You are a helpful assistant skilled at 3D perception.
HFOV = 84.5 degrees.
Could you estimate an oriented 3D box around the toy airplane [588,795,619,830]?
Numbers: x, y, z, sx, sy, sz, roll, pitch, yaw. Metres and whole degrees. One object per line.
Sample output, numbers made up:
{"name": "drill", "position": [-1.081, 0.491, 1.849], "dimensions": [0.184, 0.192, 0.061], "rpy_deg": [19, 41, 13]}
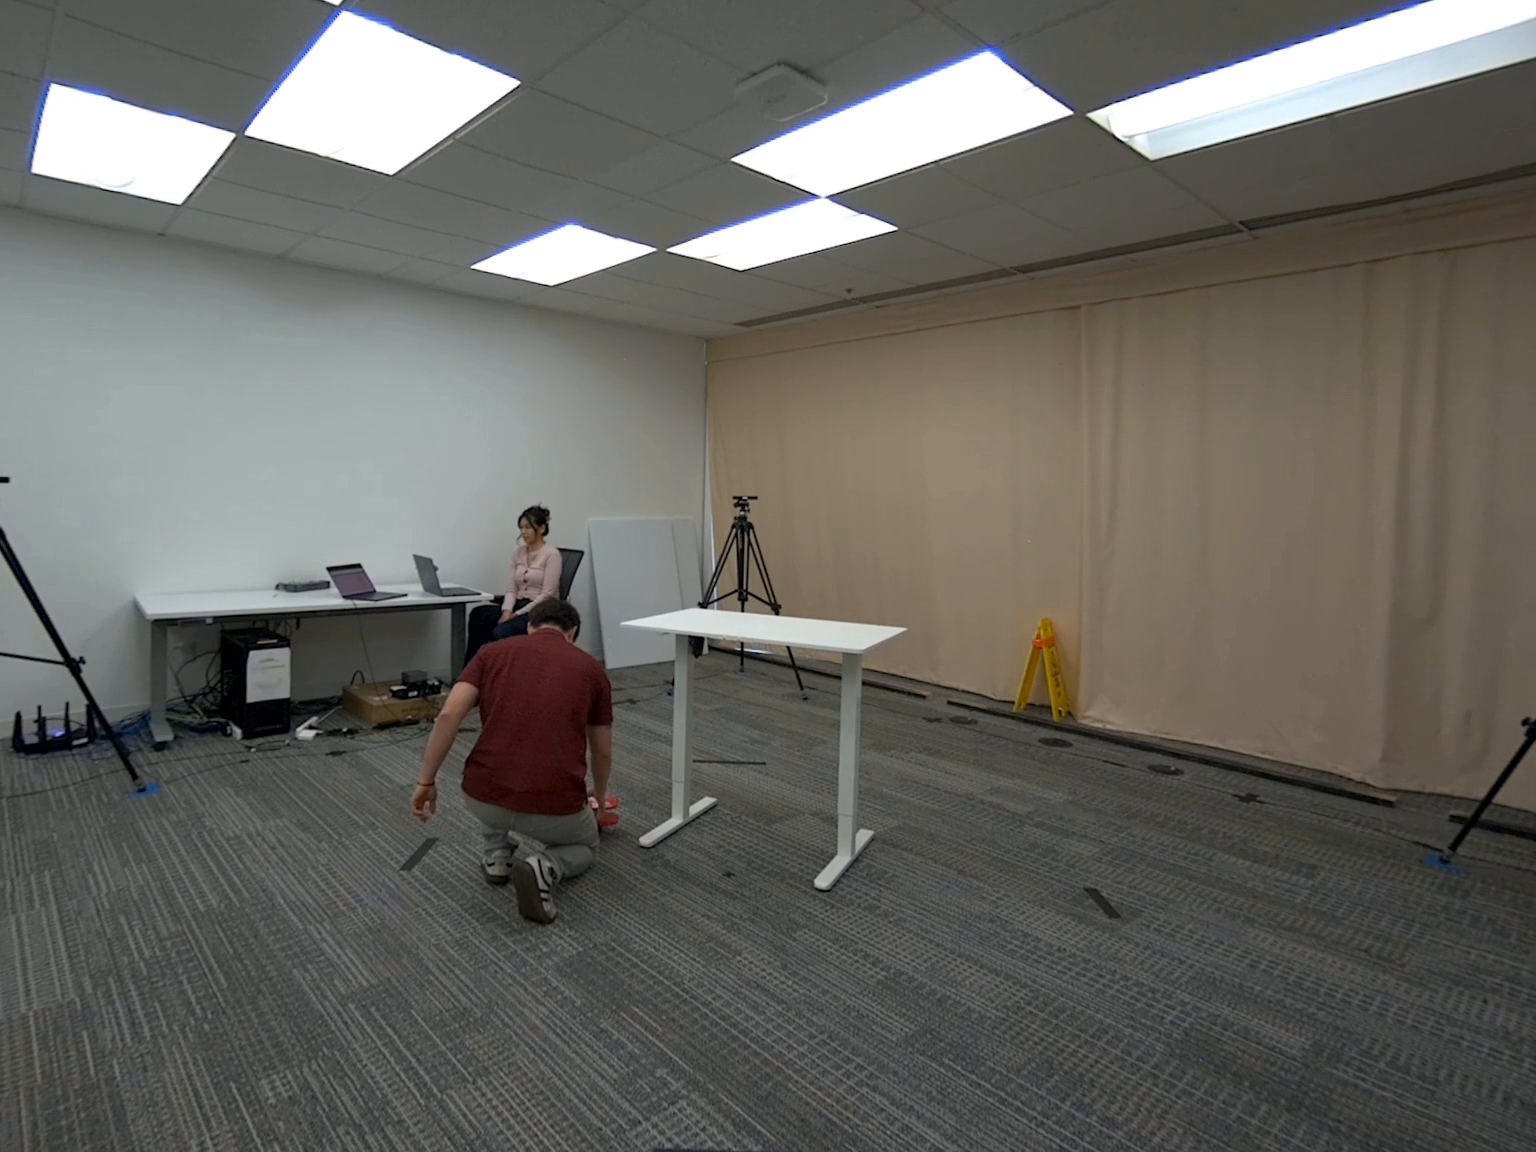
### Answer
{"name": "toy airplane", "position": [-0.732, 0.991, 3.410], "dimensions": [0.246, 0.156, 0.265], "rpy_deg": [1, 5, -28]}
